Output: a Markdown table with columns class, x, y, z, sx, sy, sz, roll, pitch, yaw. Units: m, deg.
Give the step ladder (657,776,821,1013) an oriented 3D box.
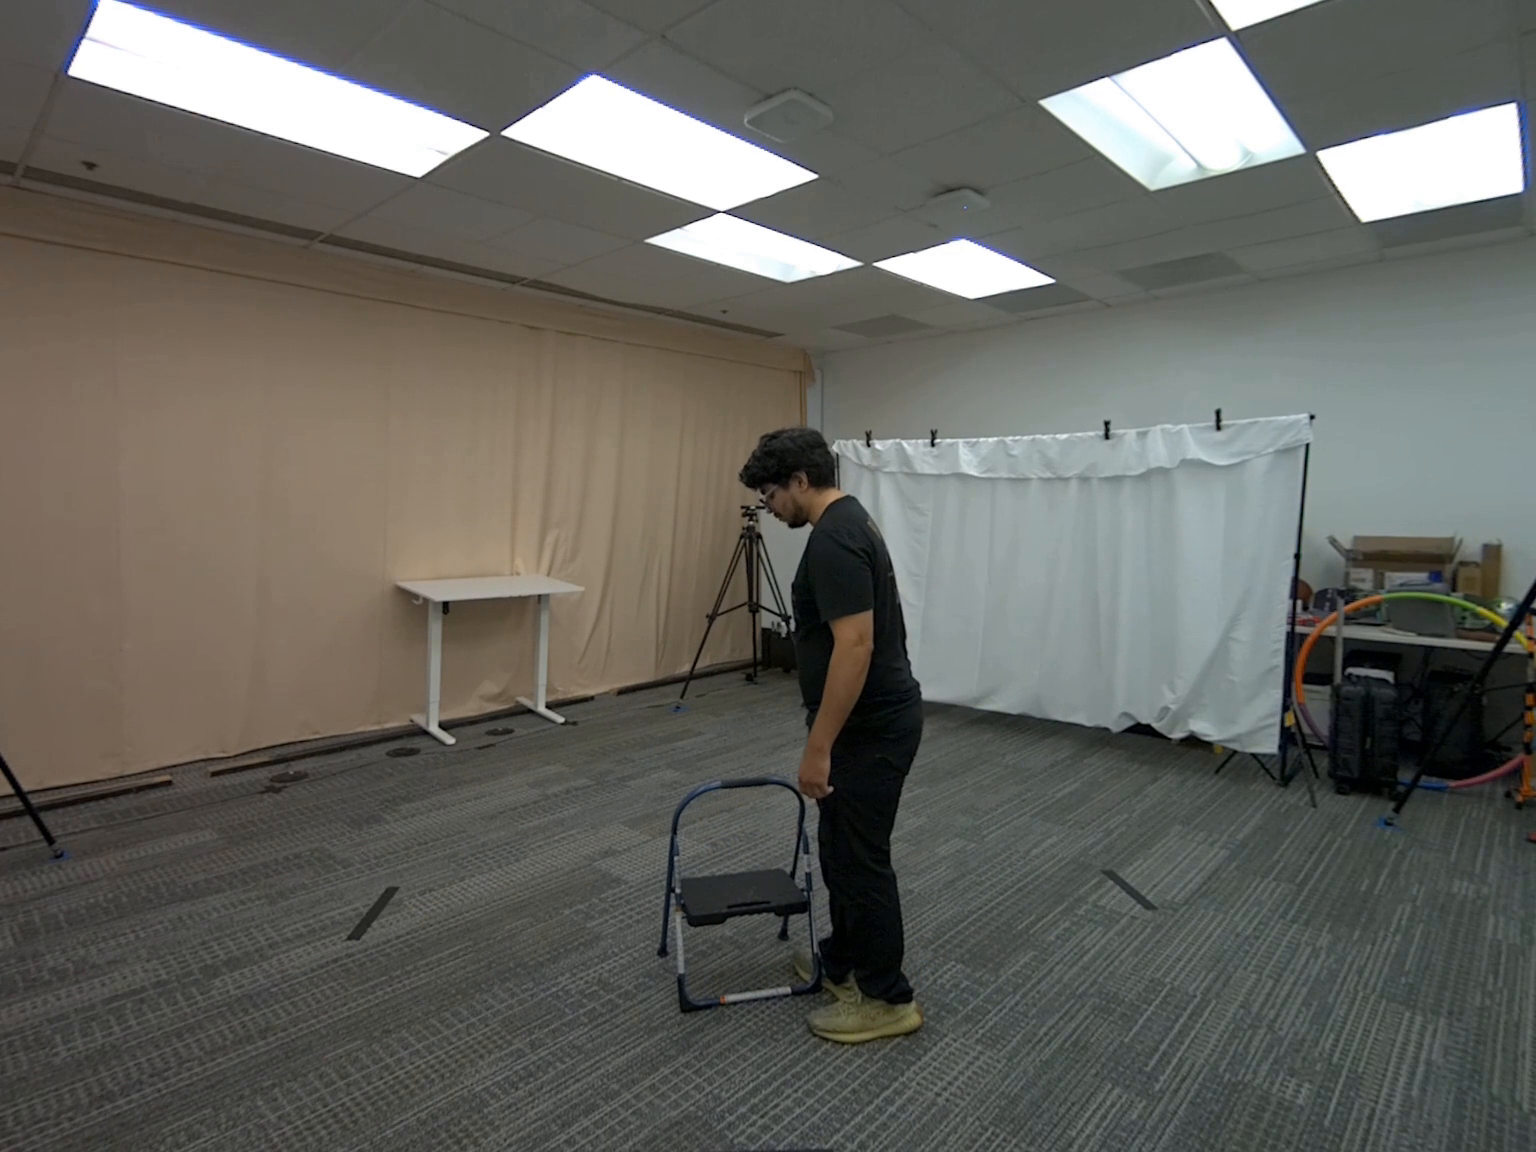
| class | x | y | z | sx | sy | sz | roll | pitch | yaw |
| --- | --- | --- | --- | --- | --- | --- | --- | --- | --- |
| step ladder | -0.093 | 0.880 | 2.504 | 0.424 | 0.605 | 0.355 | -1 | 3 | -16 |
